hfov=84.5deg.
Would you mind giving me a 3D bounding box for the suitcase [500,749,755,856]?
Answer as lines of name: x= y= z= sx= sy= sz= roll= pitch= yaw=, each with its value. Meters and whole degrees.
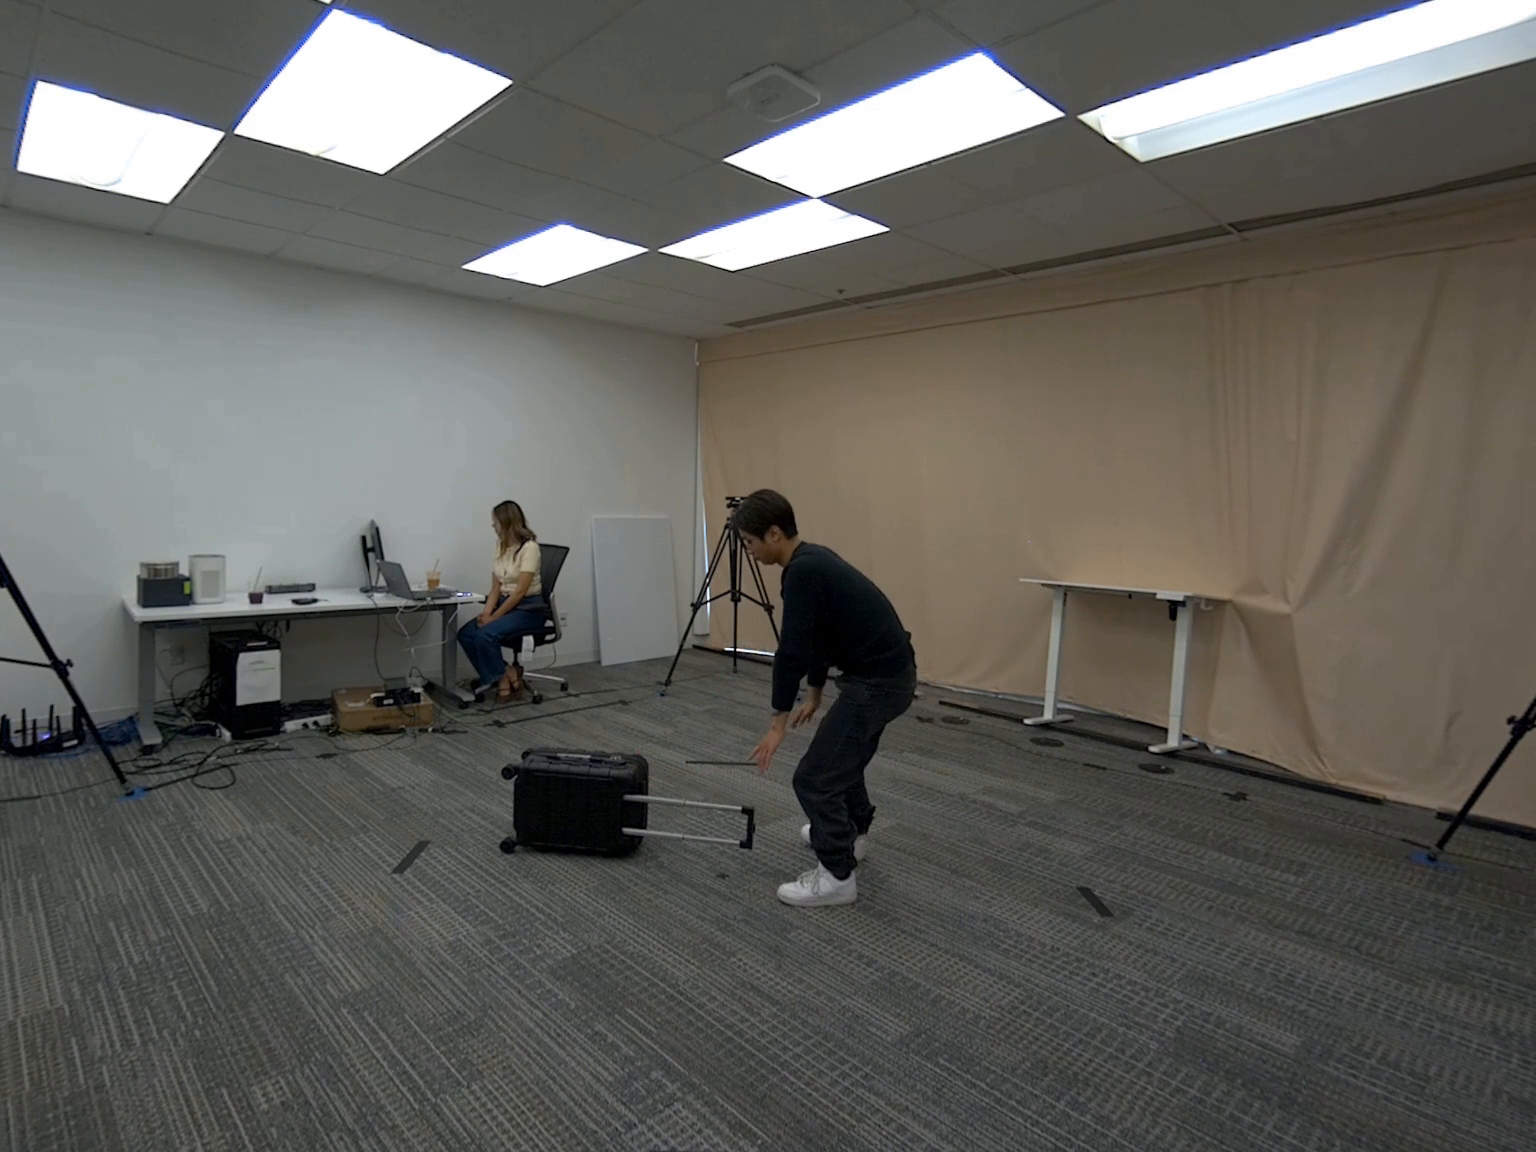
suitcase: x=-0.539 y=0.885 z=3.305 sx=0.984 sy=0.382 sz=0.256 roll=2 pitch=5 yaw=6
